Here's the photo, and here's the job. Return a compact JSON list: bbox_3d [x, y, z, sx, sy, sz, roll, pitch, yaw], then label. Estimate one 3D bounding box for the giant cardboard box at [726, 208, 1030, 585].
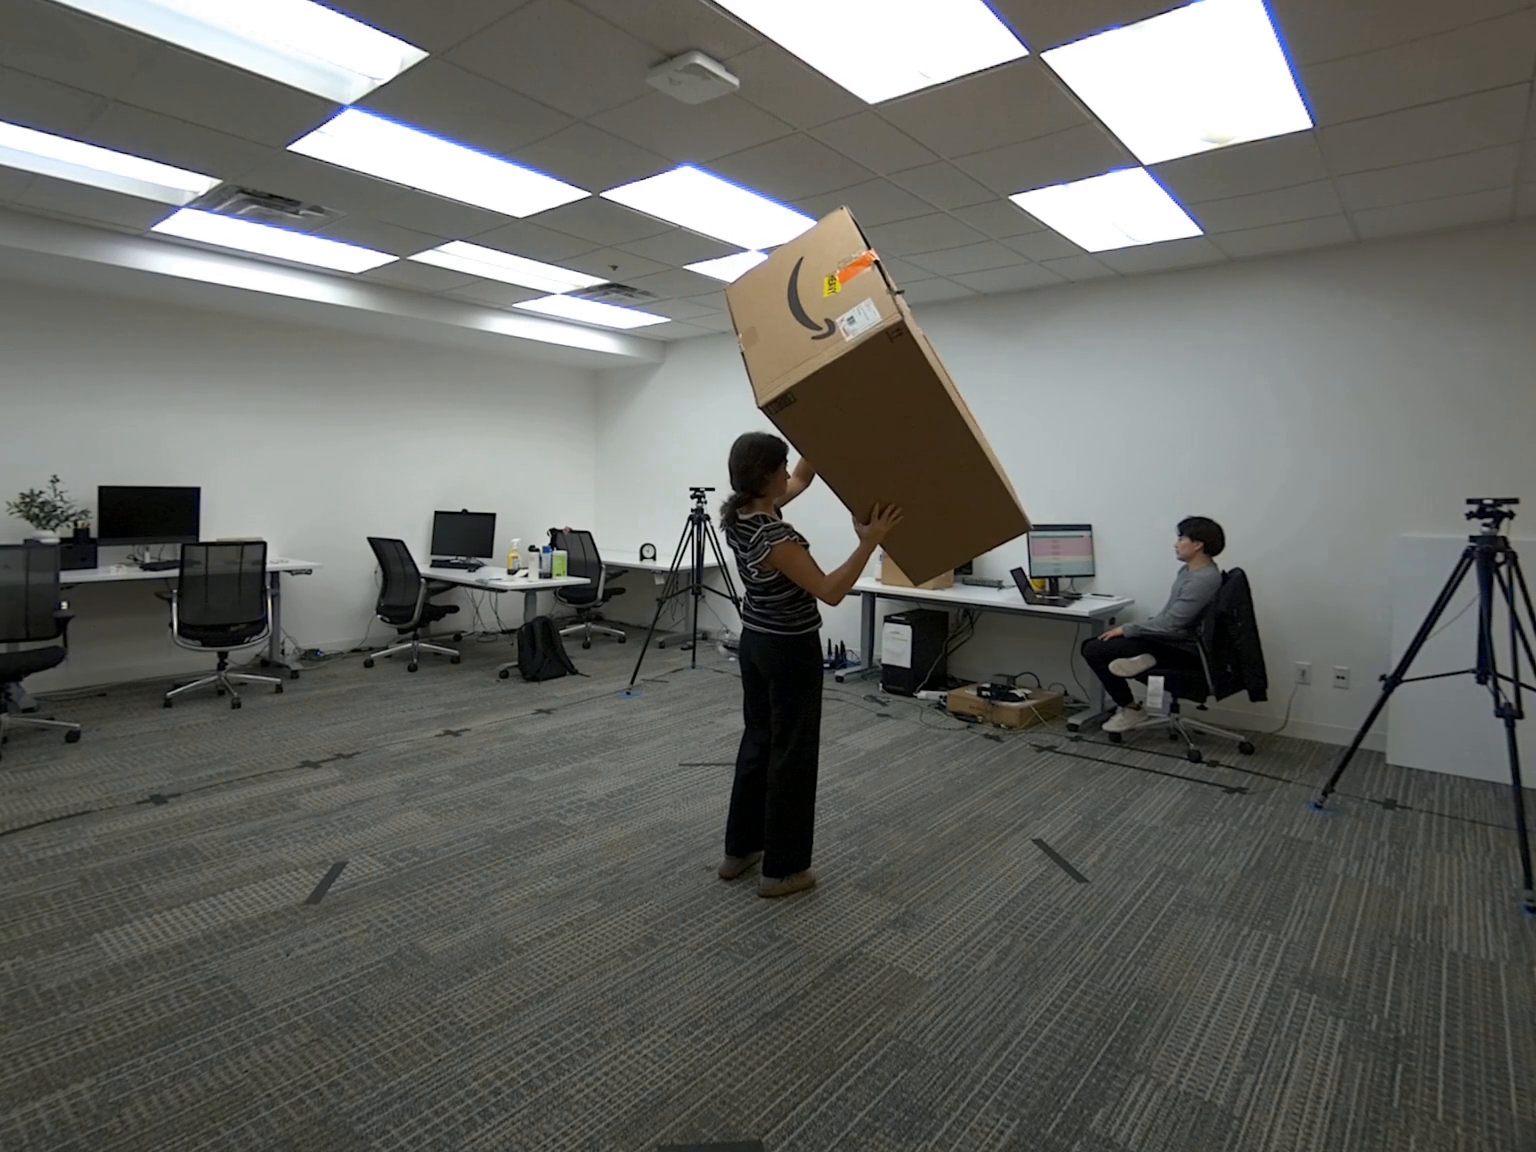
[{"bbox_3d":[0.348,-0.513,2.646,0.429,0.598,0.982,-30,-43,18],"label":"giant cardboard box"}]
